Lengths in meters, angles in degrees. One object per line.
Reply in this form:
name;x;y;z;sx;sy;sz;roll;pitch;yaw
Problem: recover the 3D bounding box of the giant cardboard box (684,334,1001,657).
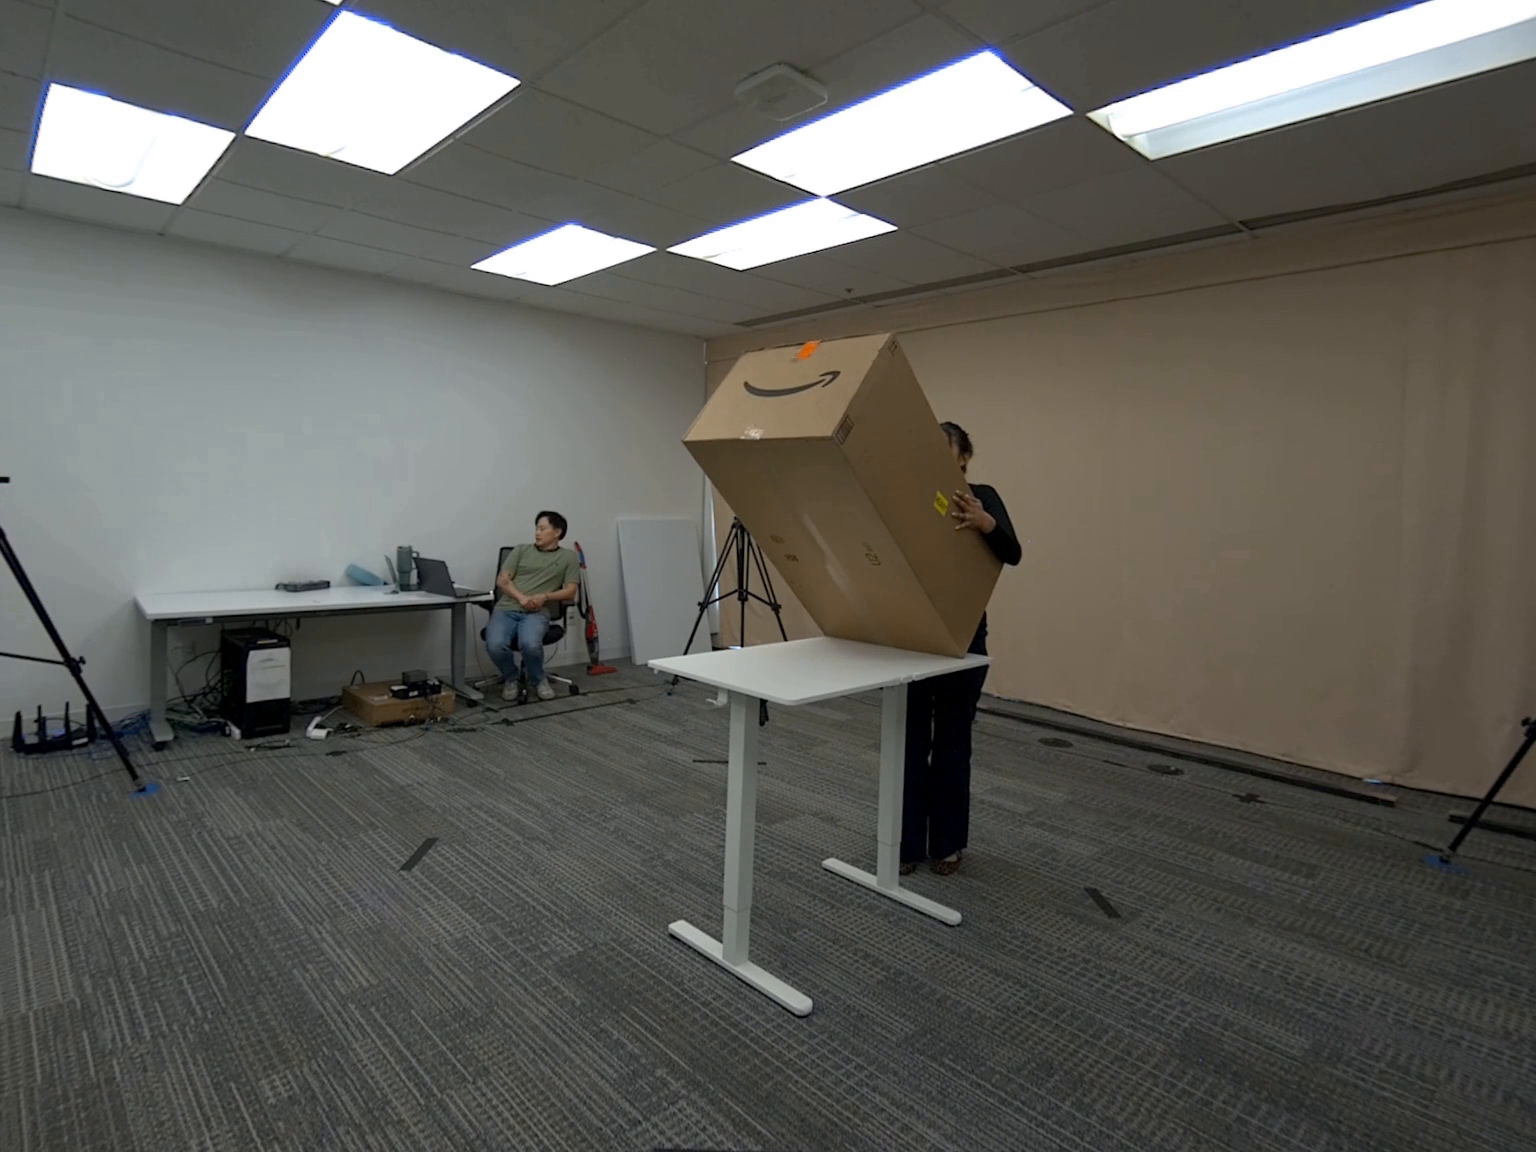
giant cardboard box;0.276;-0.224;2.757;0.592;0.428;0.995;6;-37;42
